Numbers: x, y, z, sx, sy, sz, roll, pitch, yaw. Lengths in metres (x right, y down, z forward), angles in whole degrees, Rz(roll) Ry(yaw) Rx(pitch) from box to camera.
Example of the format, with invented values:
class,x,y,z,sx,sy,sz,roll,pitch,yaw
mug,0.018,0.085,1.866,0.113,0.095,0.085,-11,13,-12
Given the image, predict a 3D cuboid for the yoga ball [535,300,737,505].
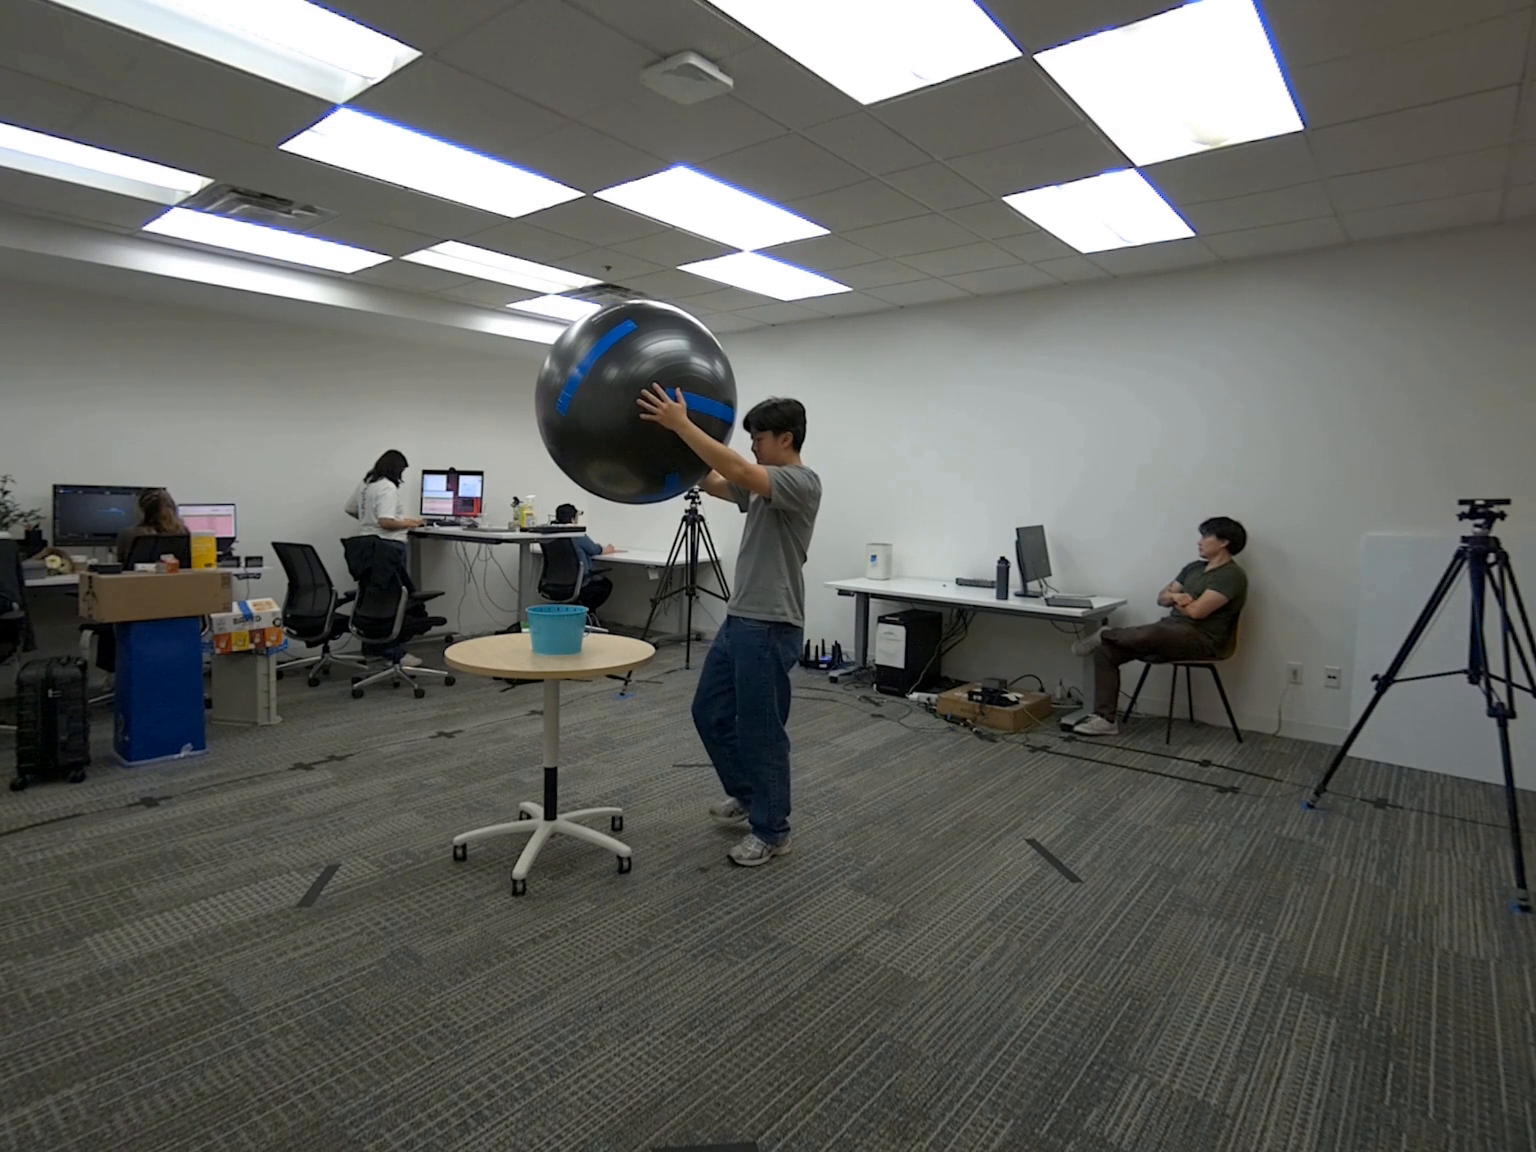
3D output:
class,x,y,z,sx,sy,sz,roll,pitch,yaw
yoga ball,-0.510,-0.650,3.217,0.757,0.755,0.762,1,4,-2
